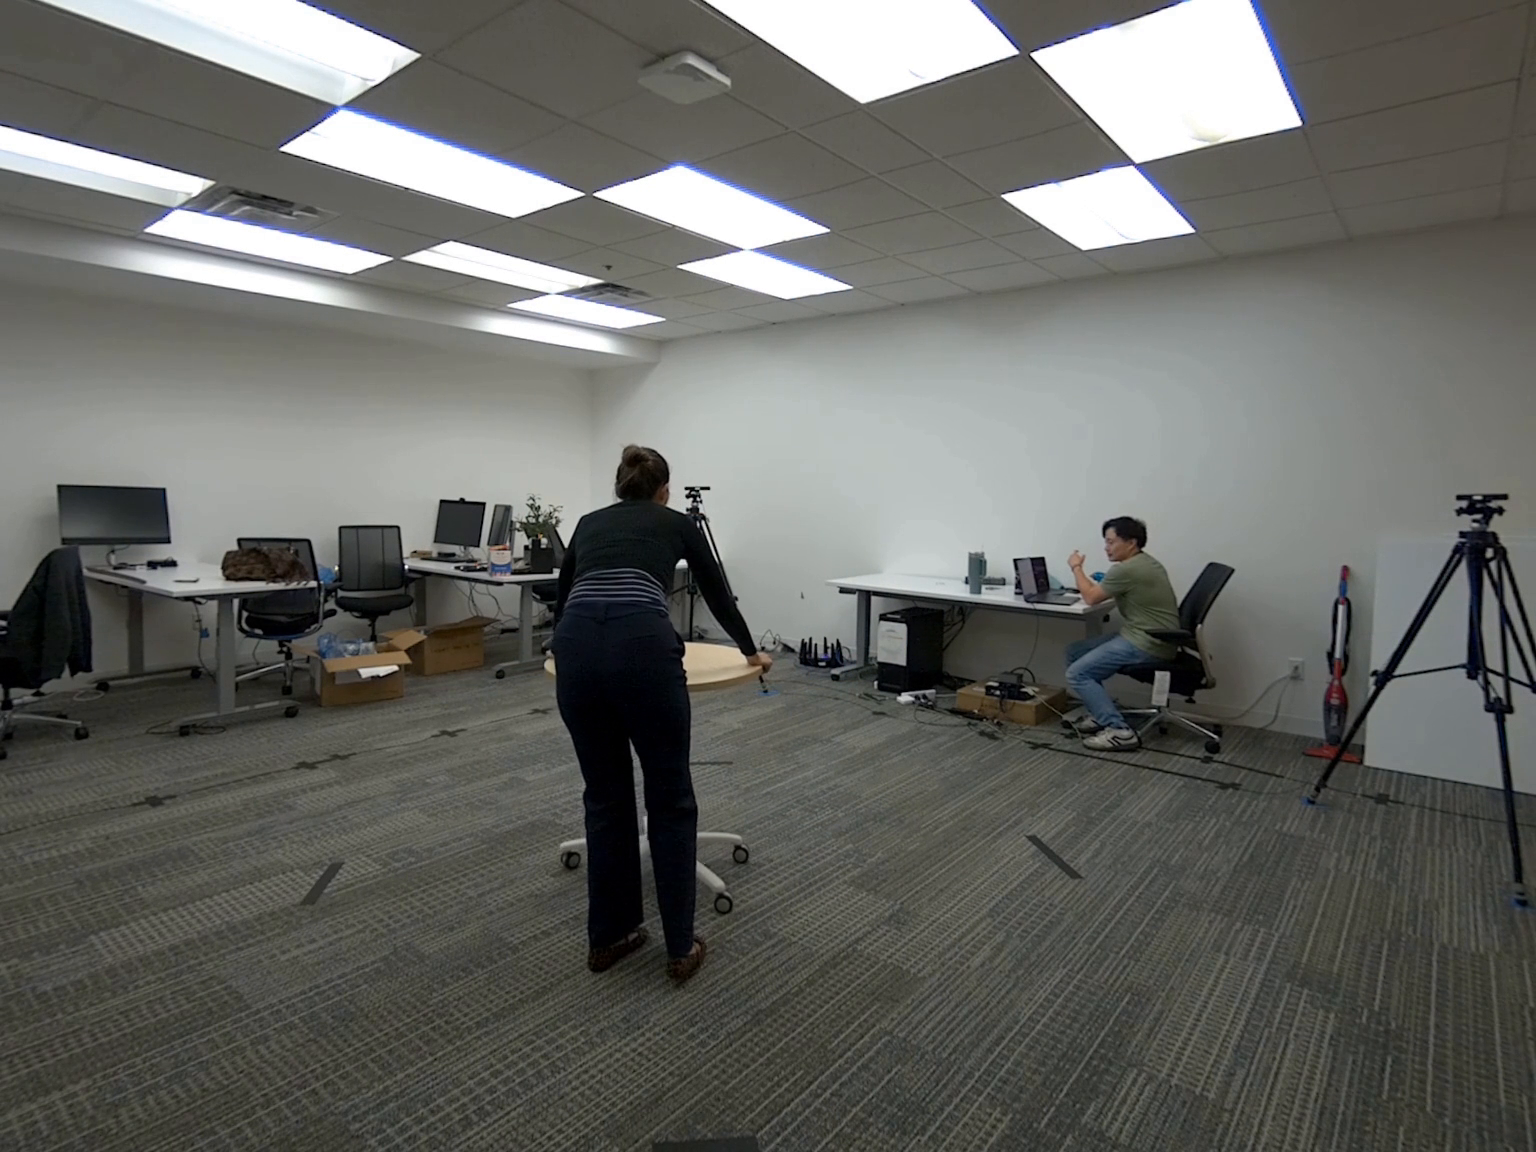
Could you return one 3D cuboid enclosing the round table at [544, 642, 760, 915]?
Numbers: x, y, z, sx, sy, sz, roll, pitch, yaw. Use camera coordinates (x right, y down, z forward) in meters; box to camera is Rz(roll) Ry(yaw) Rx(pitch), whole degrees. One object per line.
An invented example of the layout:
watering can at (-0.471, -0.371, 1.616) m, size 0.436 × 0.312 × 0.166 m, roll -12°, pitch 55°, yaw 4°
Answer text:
round table at (-0.405, 0.684, 3.017) m, size 0.763 × 0.791 × 0.768 m, roll 0°, pitch 4°, yaw -2°
